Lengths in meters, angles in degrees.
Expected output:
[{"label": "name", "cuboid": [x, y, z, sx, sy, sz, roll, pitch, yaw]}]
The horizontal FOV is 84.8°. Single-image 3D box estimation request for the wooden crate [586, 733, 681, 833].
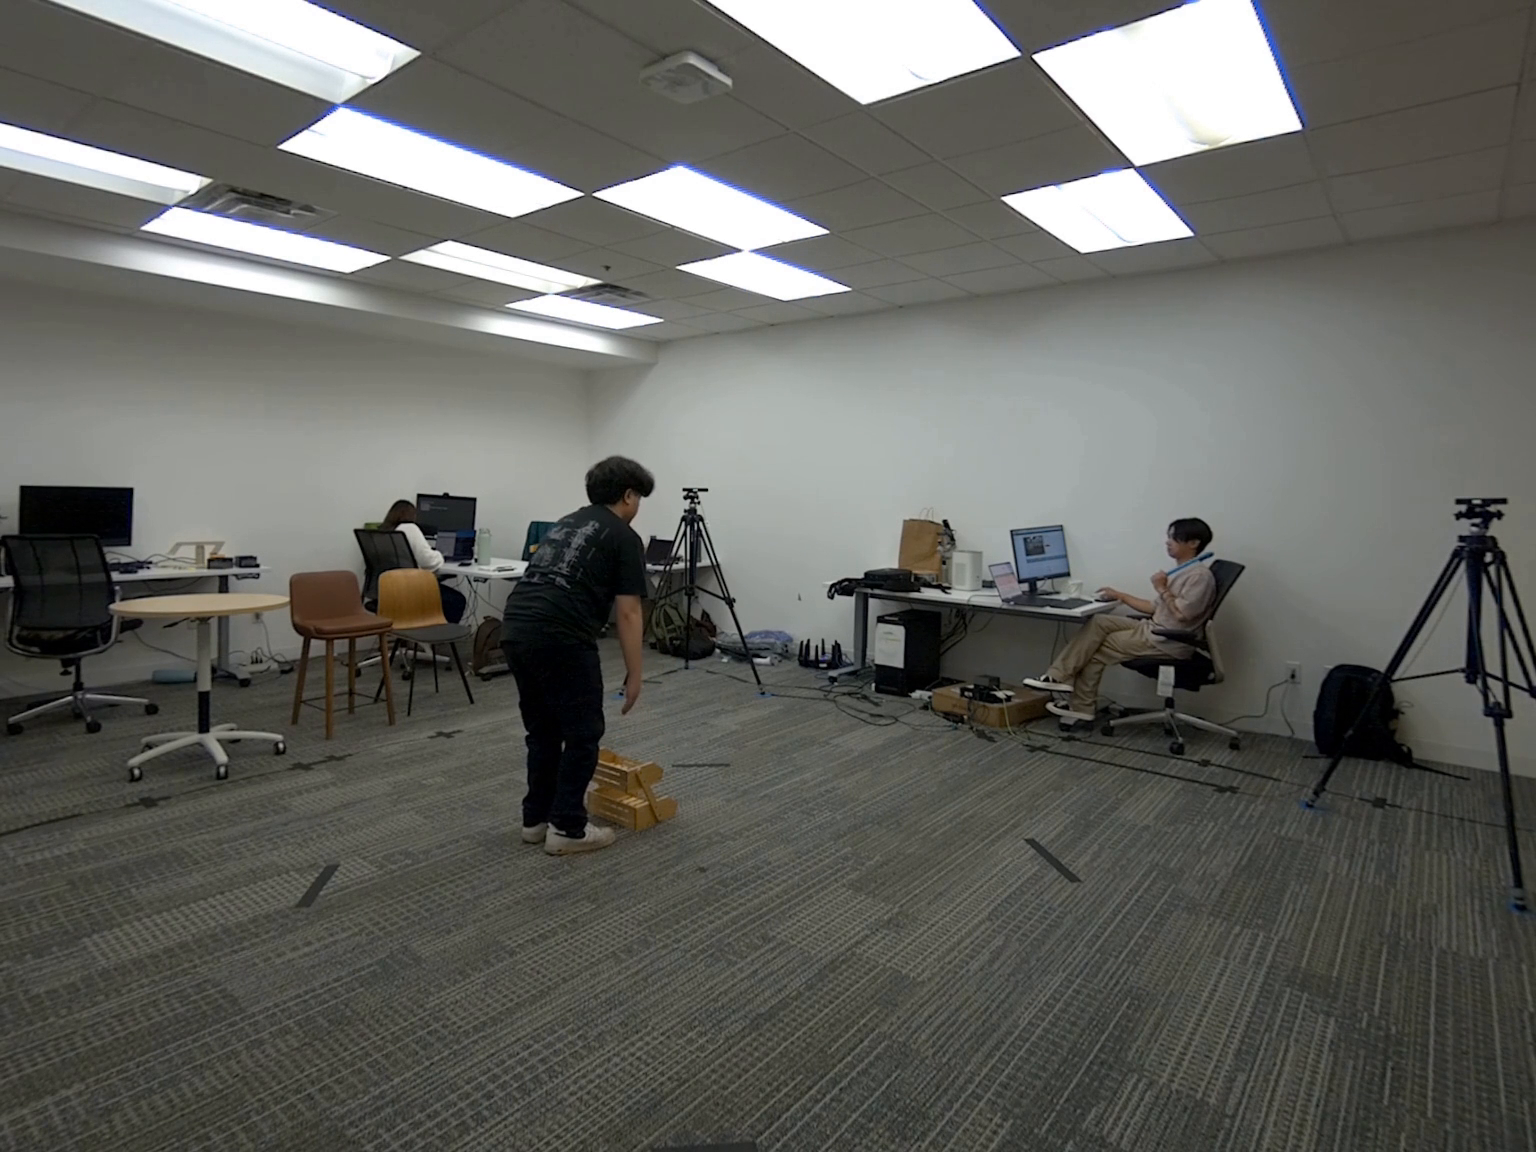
[{"label": "wooden crate", "cuboid": [-0.601, 0.874, 3.610, 0.335, 0.272, 0.293, 4, 6, 38]}]
